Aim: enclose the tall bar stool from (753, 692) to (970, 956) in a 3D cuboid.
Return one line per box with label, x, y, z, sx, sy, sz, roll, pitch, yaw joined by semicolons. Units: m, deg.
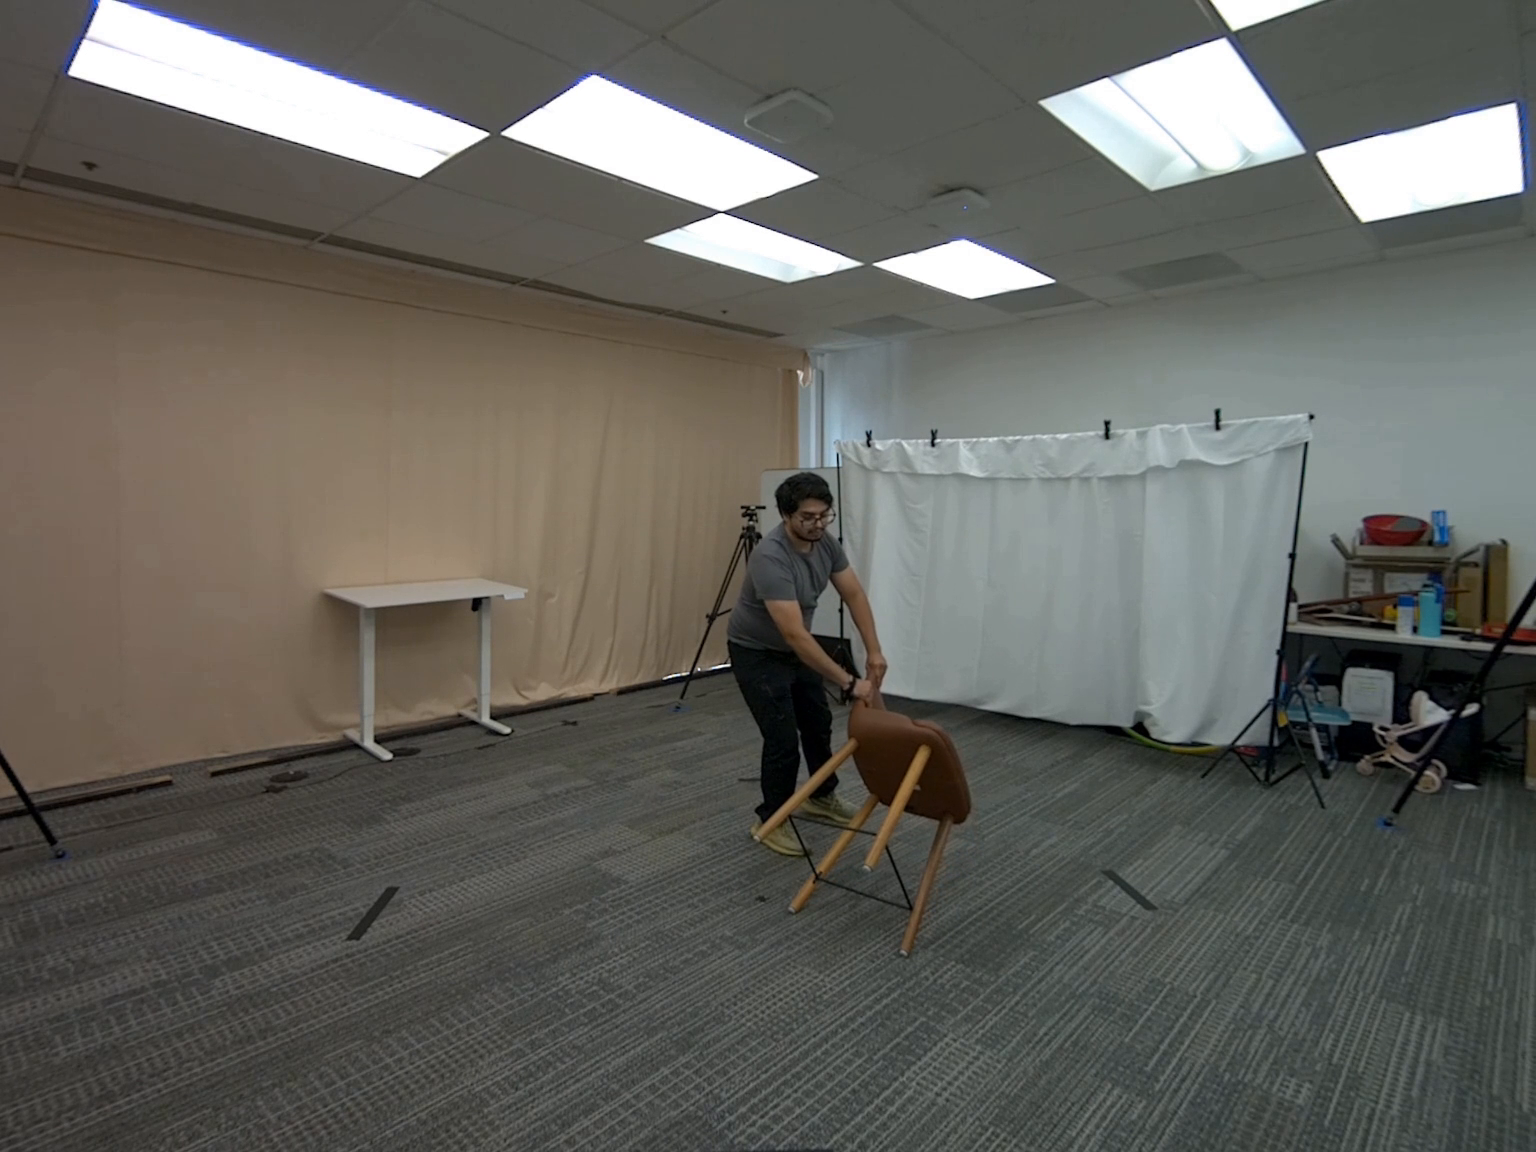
tall bar stool;0.419;0.759;2.938;0.482;0.446;0.882;-3;33;39
